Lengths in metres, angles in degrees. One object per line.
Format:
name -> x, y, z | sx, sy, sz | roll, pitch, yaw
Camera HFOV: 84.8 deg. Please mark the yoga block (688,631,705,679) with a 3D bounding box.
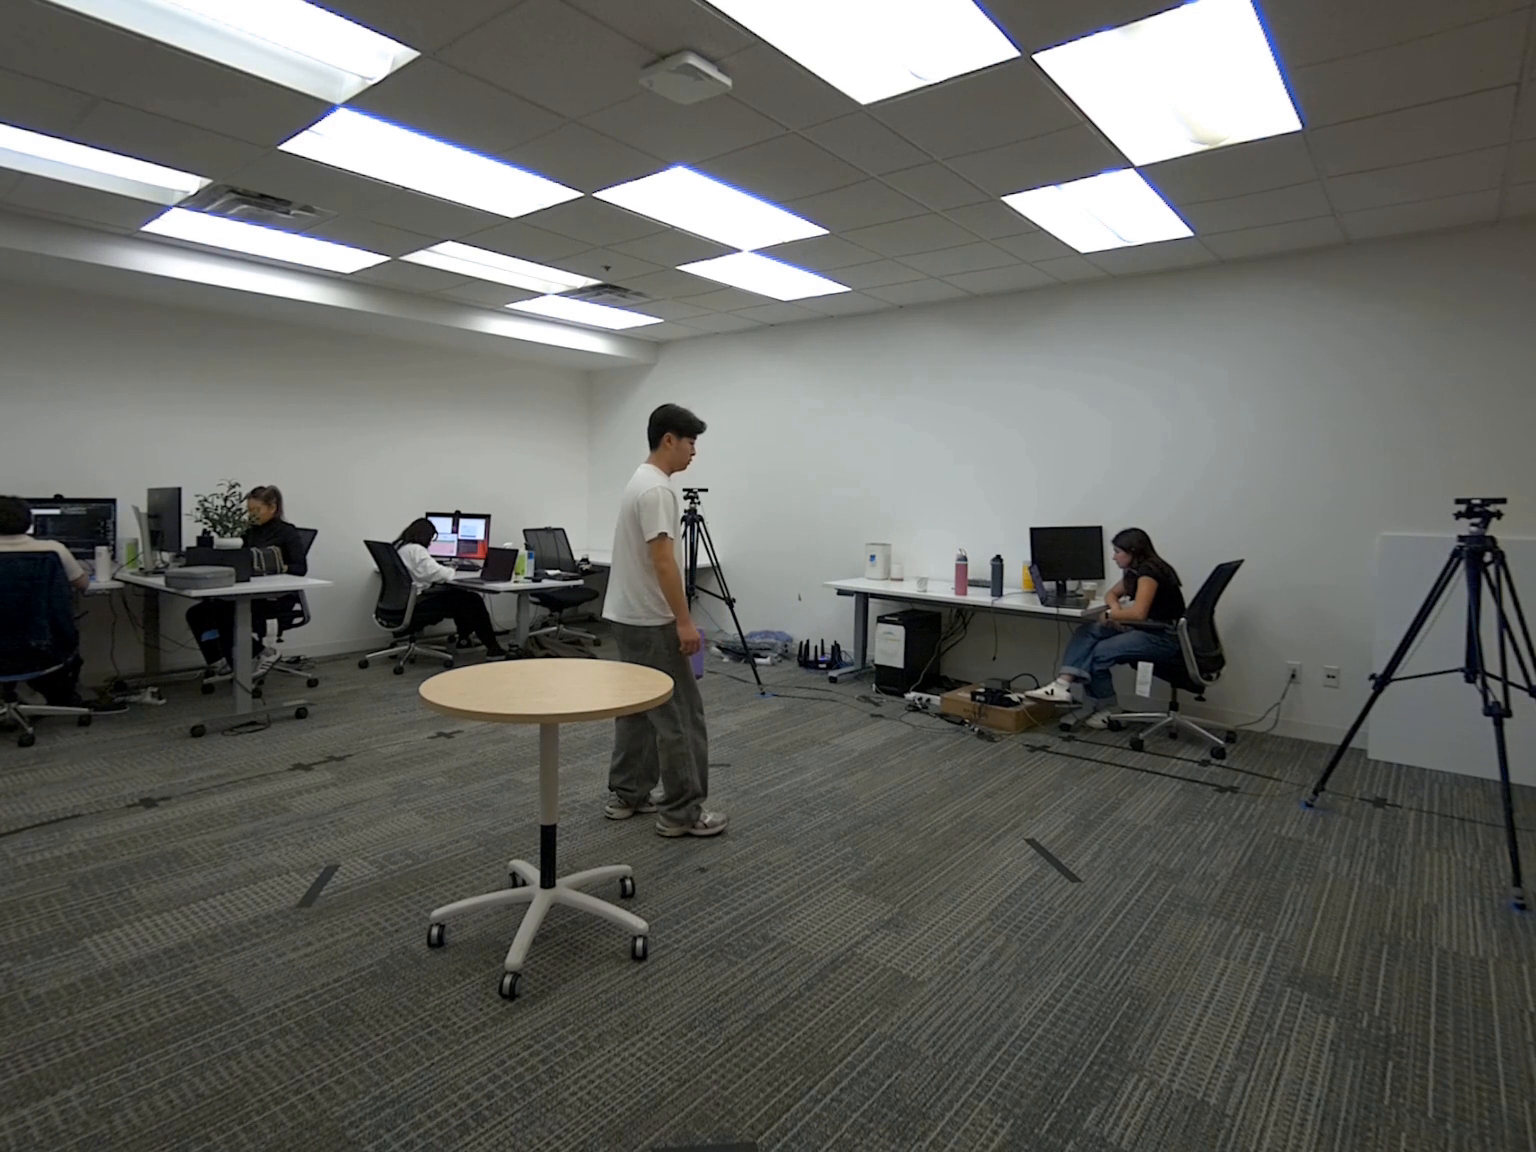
yoga block -> -0.346, 0.327, 3.761 | 0.144, 0.235, 0.077 | 12, -29, -28
